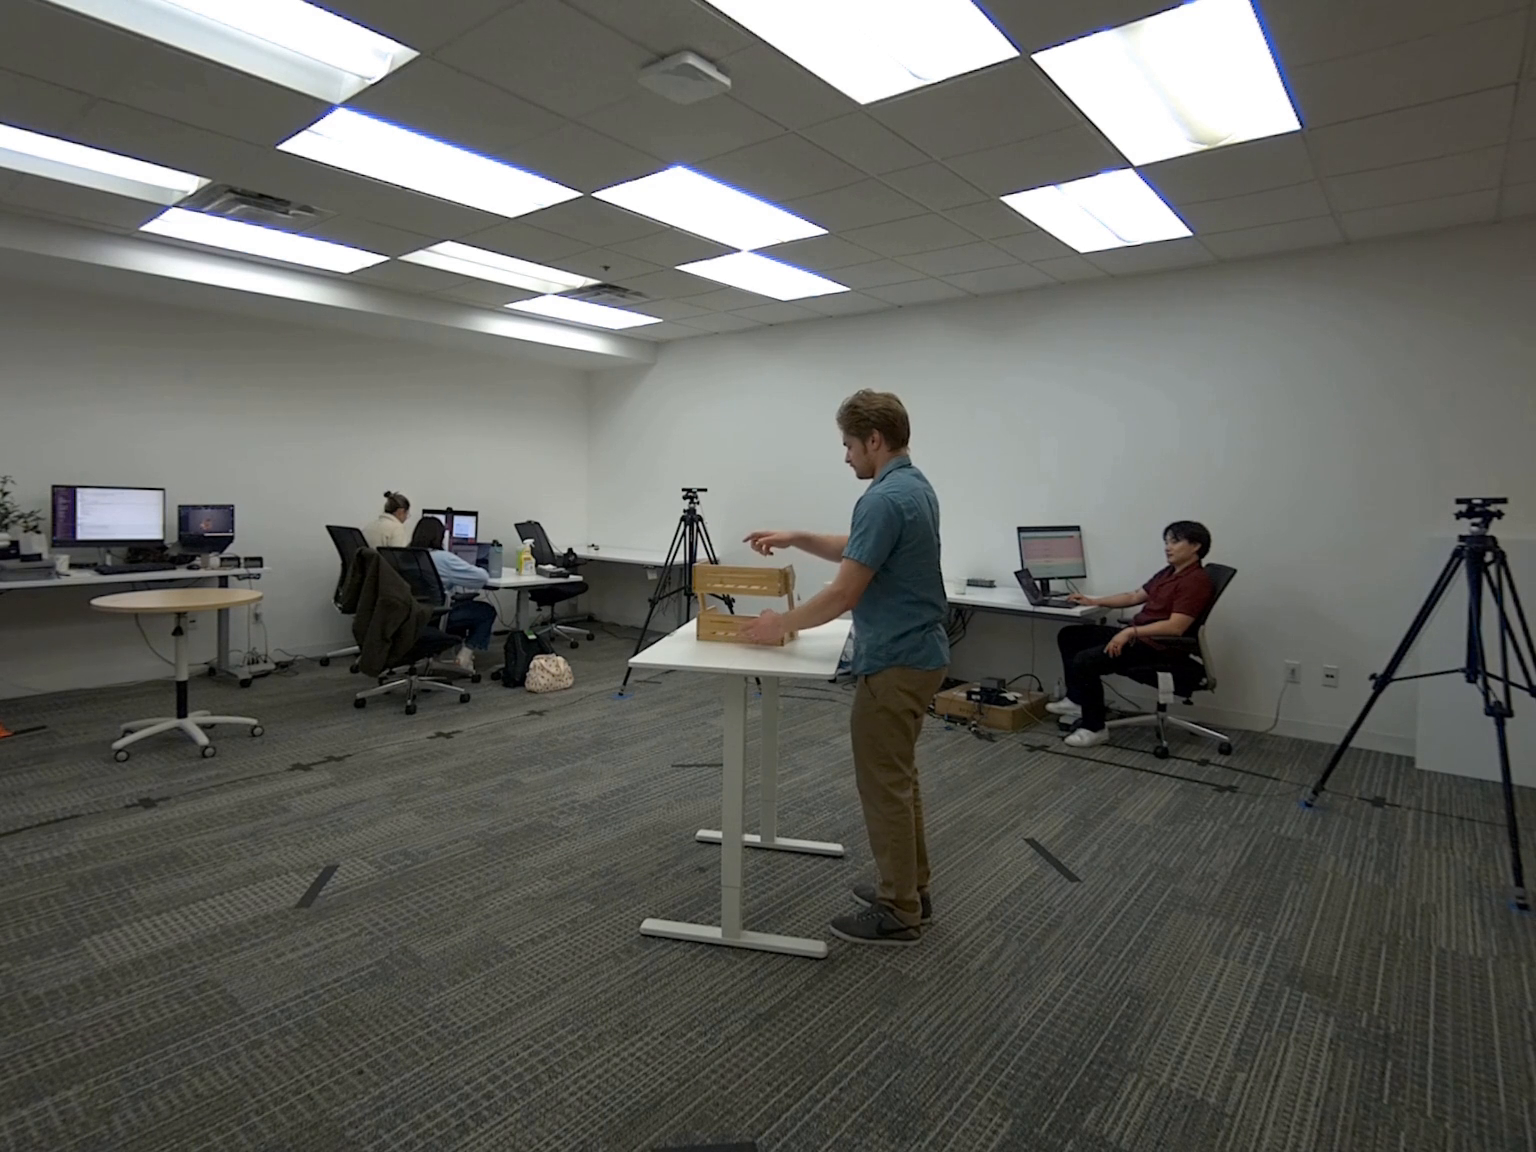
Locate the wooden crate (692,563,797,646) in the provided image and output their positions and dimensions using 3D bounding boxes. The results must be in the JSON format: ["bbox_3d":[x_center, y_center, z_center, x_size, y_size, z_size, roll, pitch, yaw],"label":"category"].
[{"bbox_3d":[-0.078,0.078,2.897,0.330,0.272,0.298,2,5,15],"label":"wooden crate"}]
